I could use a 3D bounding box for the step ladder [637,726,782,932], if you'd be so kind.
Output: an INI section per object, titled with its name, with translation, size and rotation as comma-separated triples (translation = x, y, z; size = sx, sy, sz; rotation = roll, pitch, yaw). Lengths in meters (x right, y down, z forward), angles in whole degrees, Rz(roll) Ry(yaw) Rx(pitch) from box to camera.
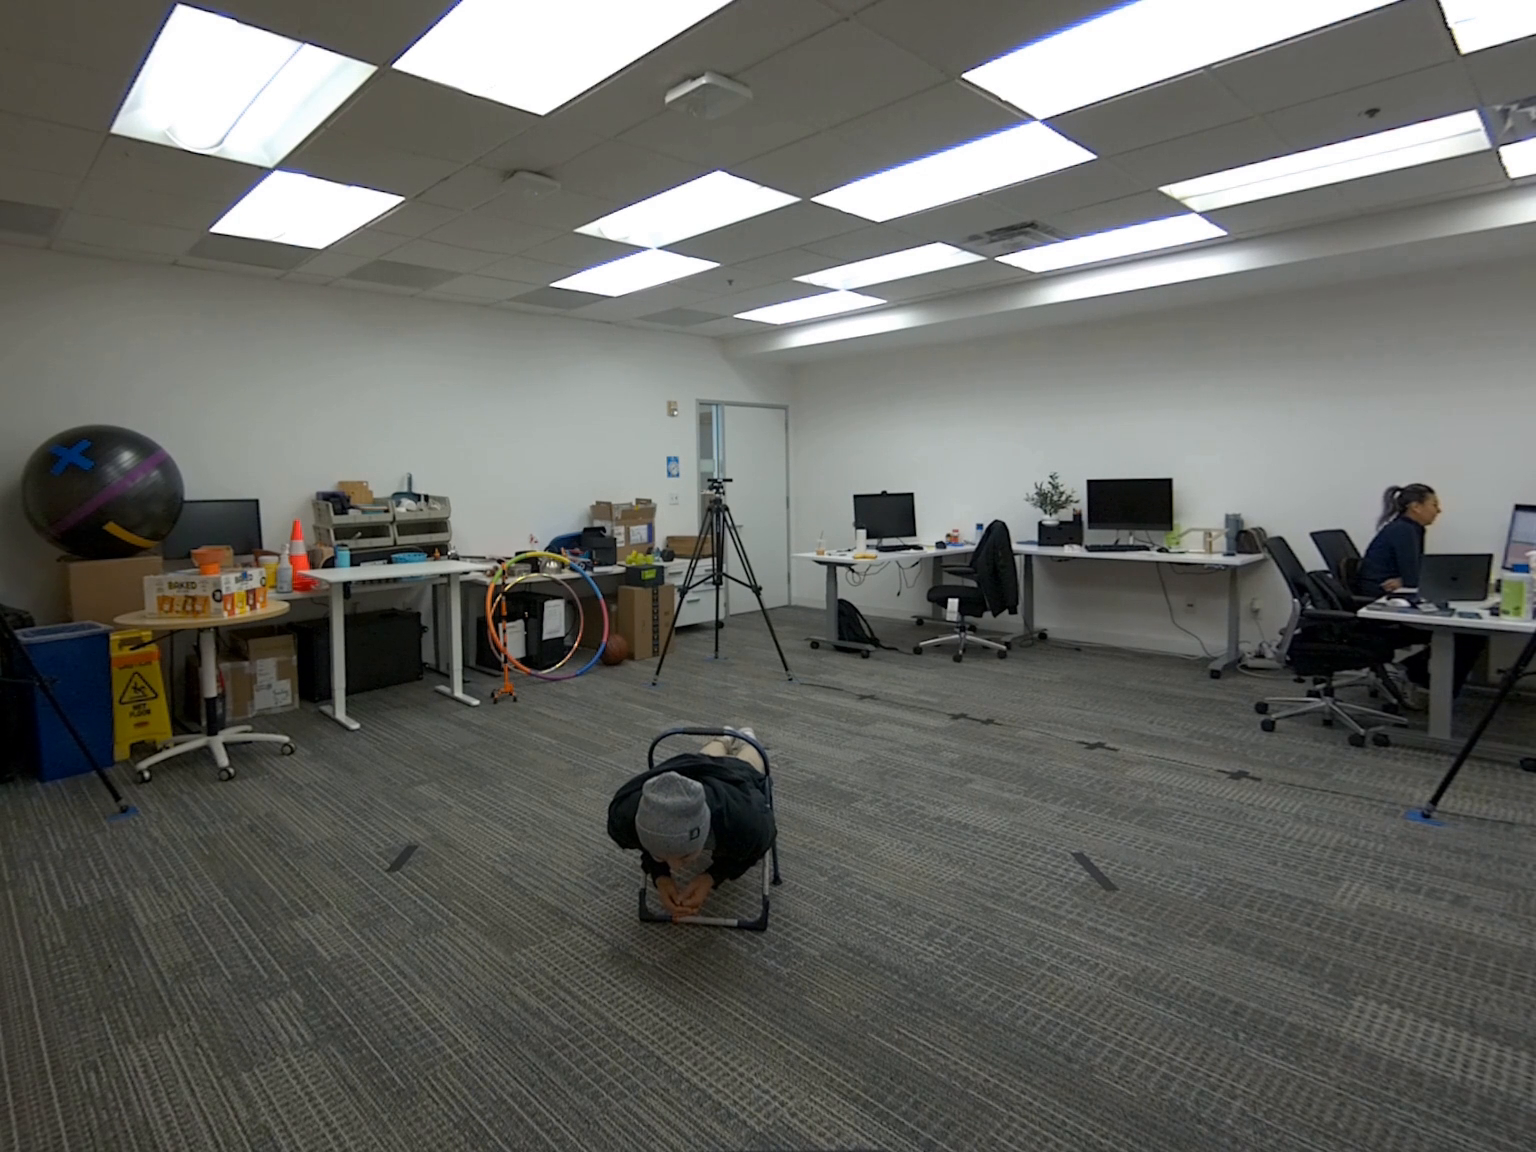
[step ladder]
translation = -0.183, 0.781, 2.821
size = 0.434, 0.603, 0.348
rotation = 0, 6, 8
